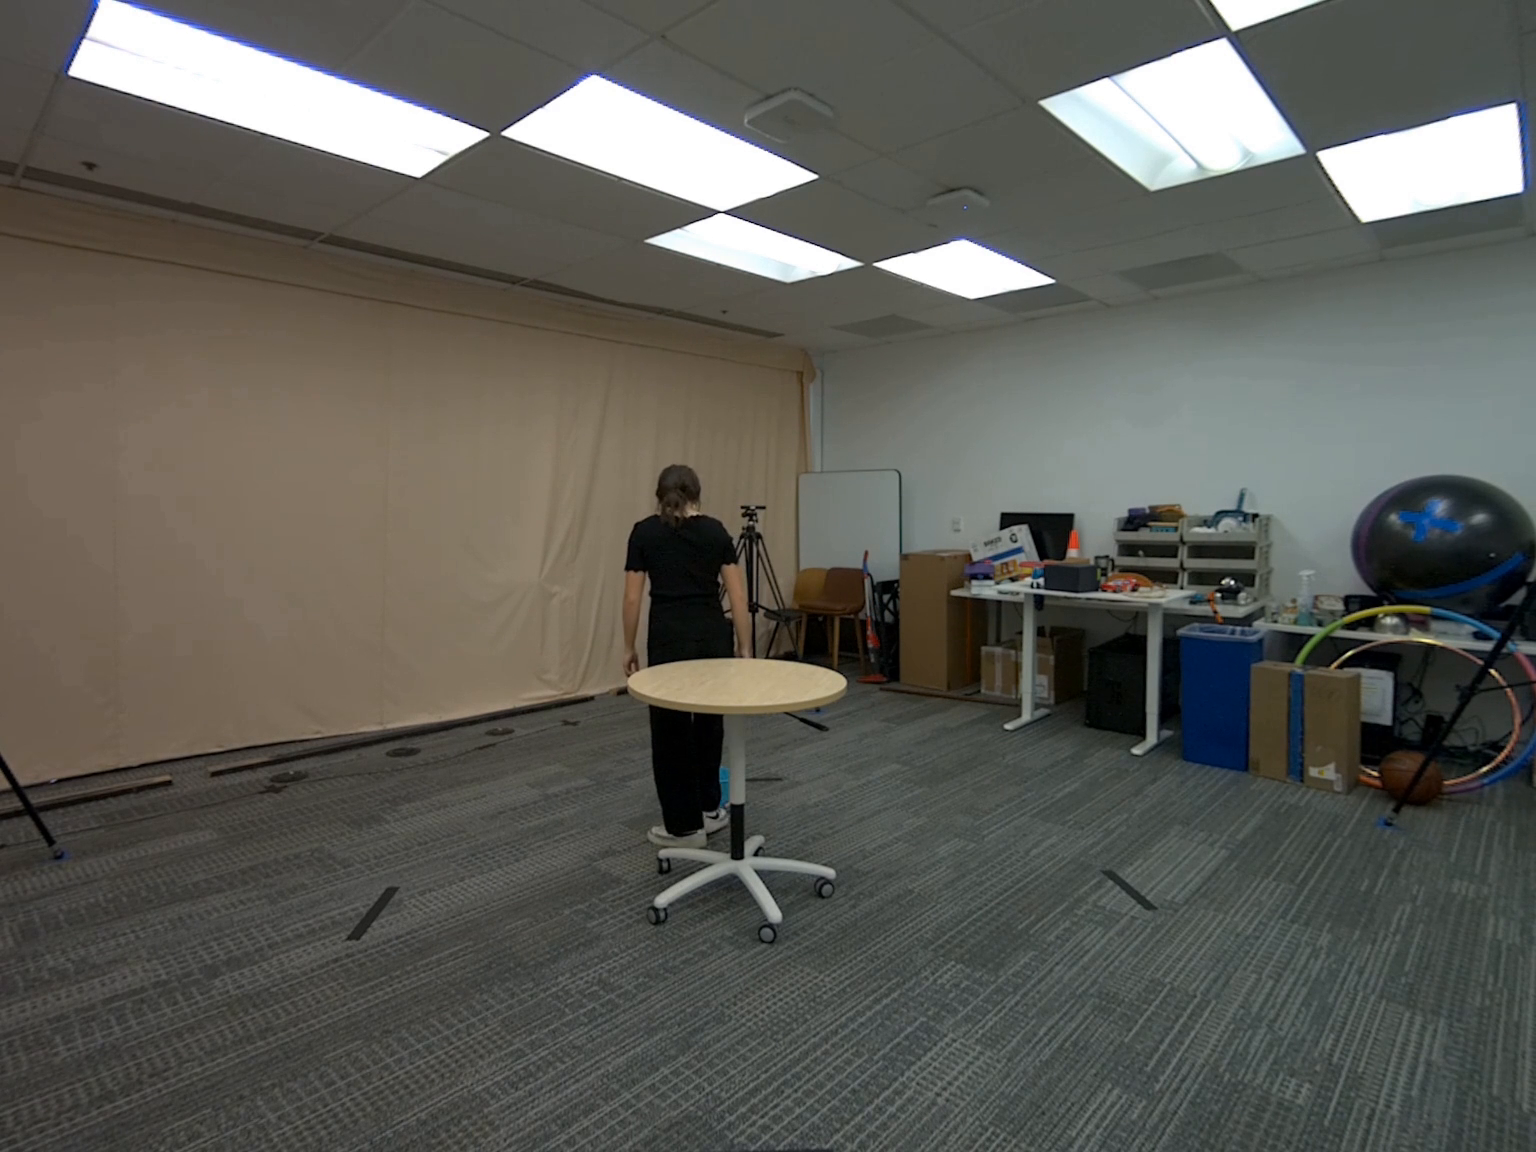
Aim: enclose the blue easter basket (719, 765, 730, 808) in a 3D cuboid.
[{"bbox_3d":[-0.260,0.989,3.901,0.243,0.155,0.244,-1,4,-2],"label":"blue easter basket"}]
